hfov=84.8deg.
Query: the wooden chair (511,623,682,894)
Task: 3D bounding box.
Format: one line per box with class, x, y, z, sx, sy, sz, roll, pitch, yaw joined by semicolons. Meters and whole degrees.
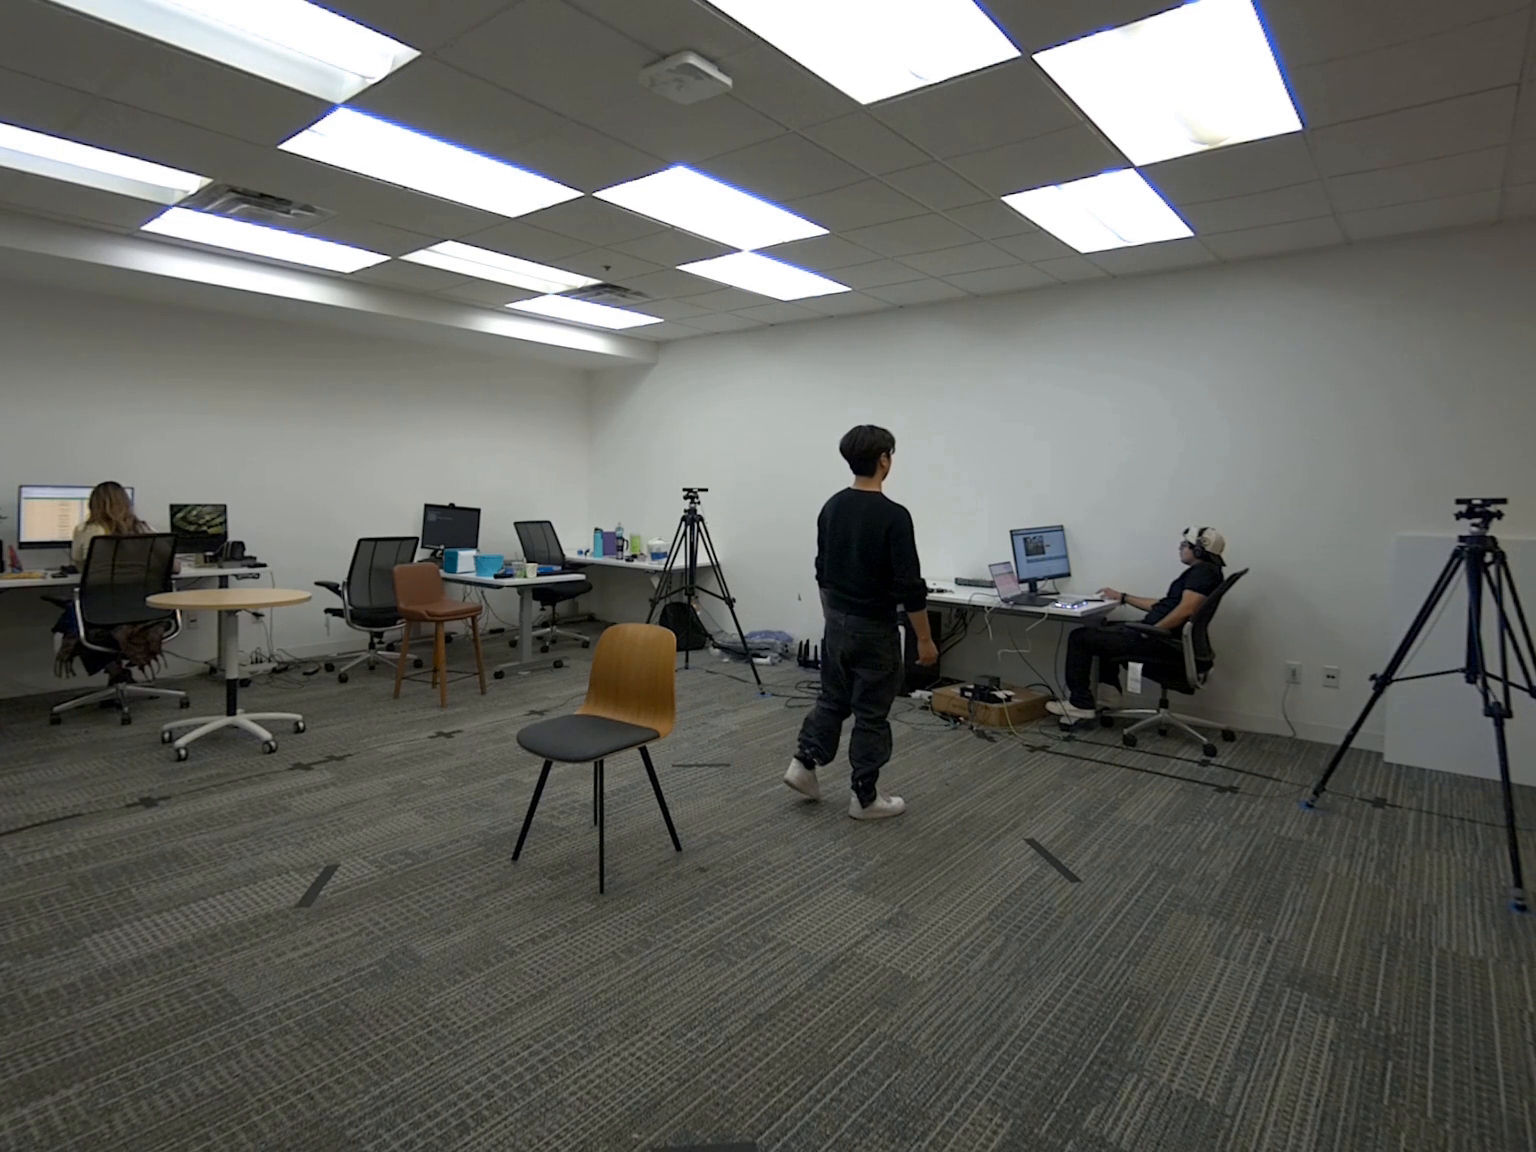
wooden chair;-0.644;0.625;3.174;0.493;0.878;0.507;3;-1;33
